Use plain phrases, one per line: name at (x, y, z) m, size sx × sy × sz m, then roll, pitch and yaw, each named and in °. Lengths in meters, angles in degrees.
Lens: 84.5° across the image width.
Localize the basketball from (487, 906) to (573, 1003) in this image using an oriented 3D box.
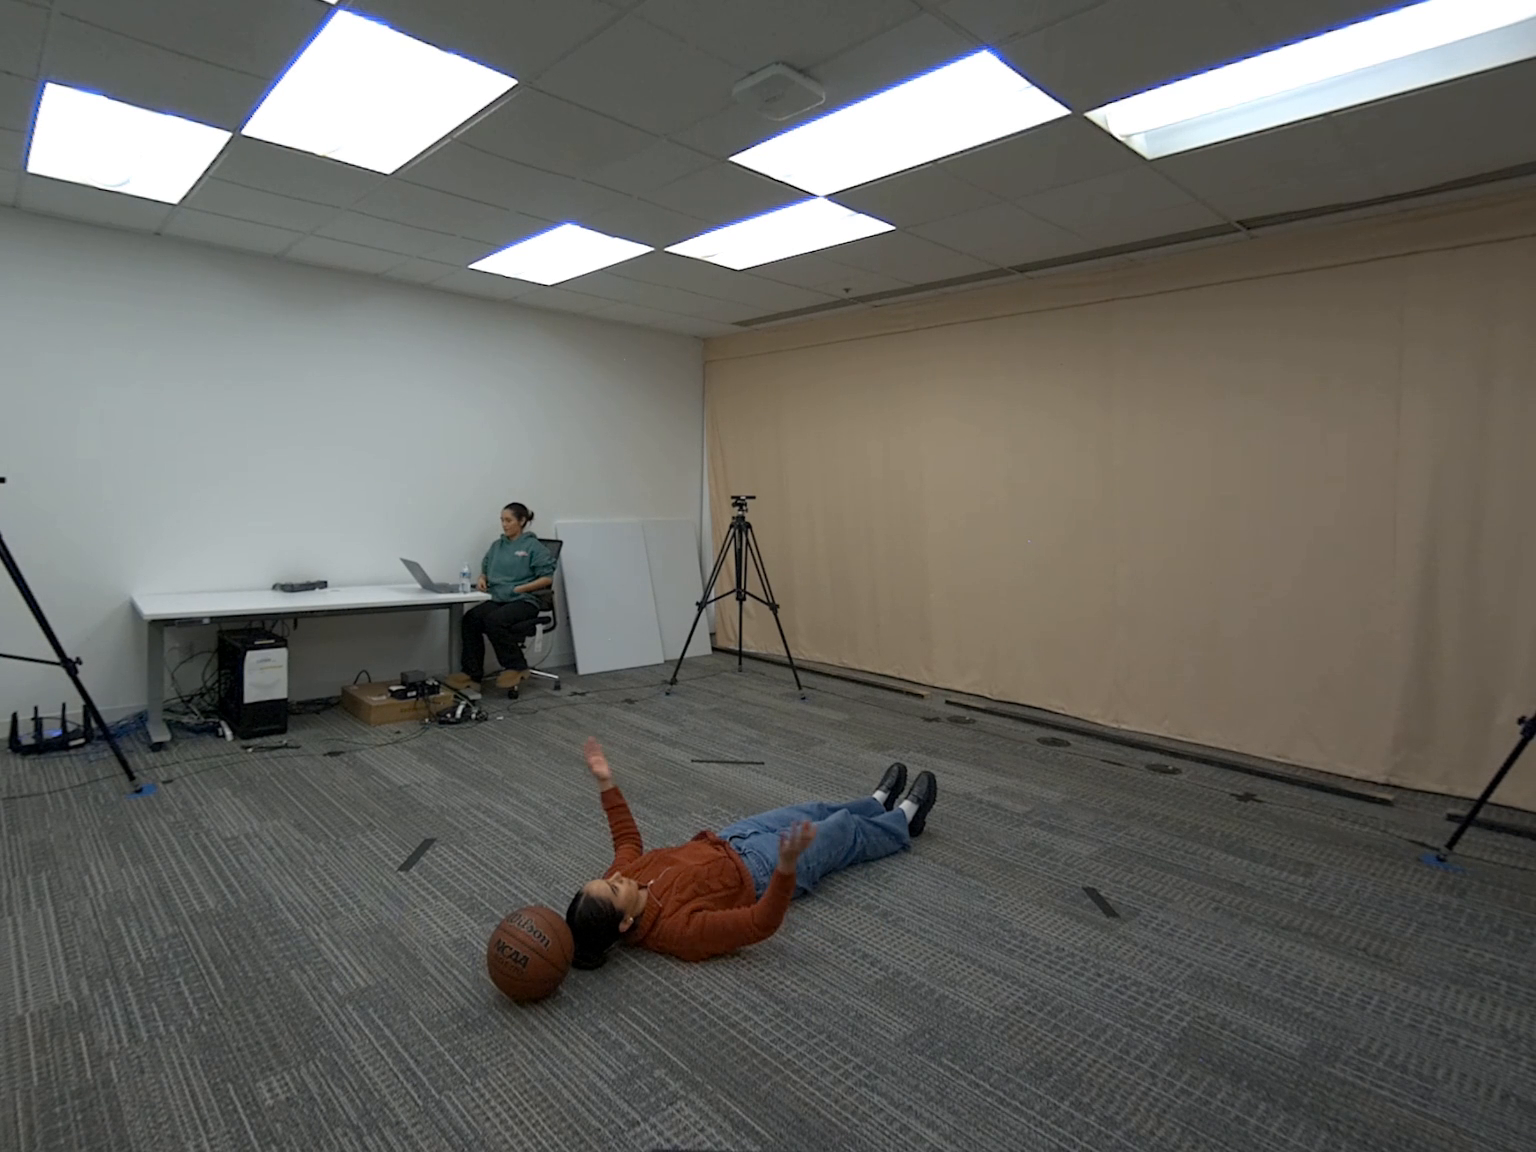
basketball at (-0.659, 1.042, 2.340) m, size 0.236 × 0.234 × 0.237 m, roll 0°, pitch 8°, yaw -1°
